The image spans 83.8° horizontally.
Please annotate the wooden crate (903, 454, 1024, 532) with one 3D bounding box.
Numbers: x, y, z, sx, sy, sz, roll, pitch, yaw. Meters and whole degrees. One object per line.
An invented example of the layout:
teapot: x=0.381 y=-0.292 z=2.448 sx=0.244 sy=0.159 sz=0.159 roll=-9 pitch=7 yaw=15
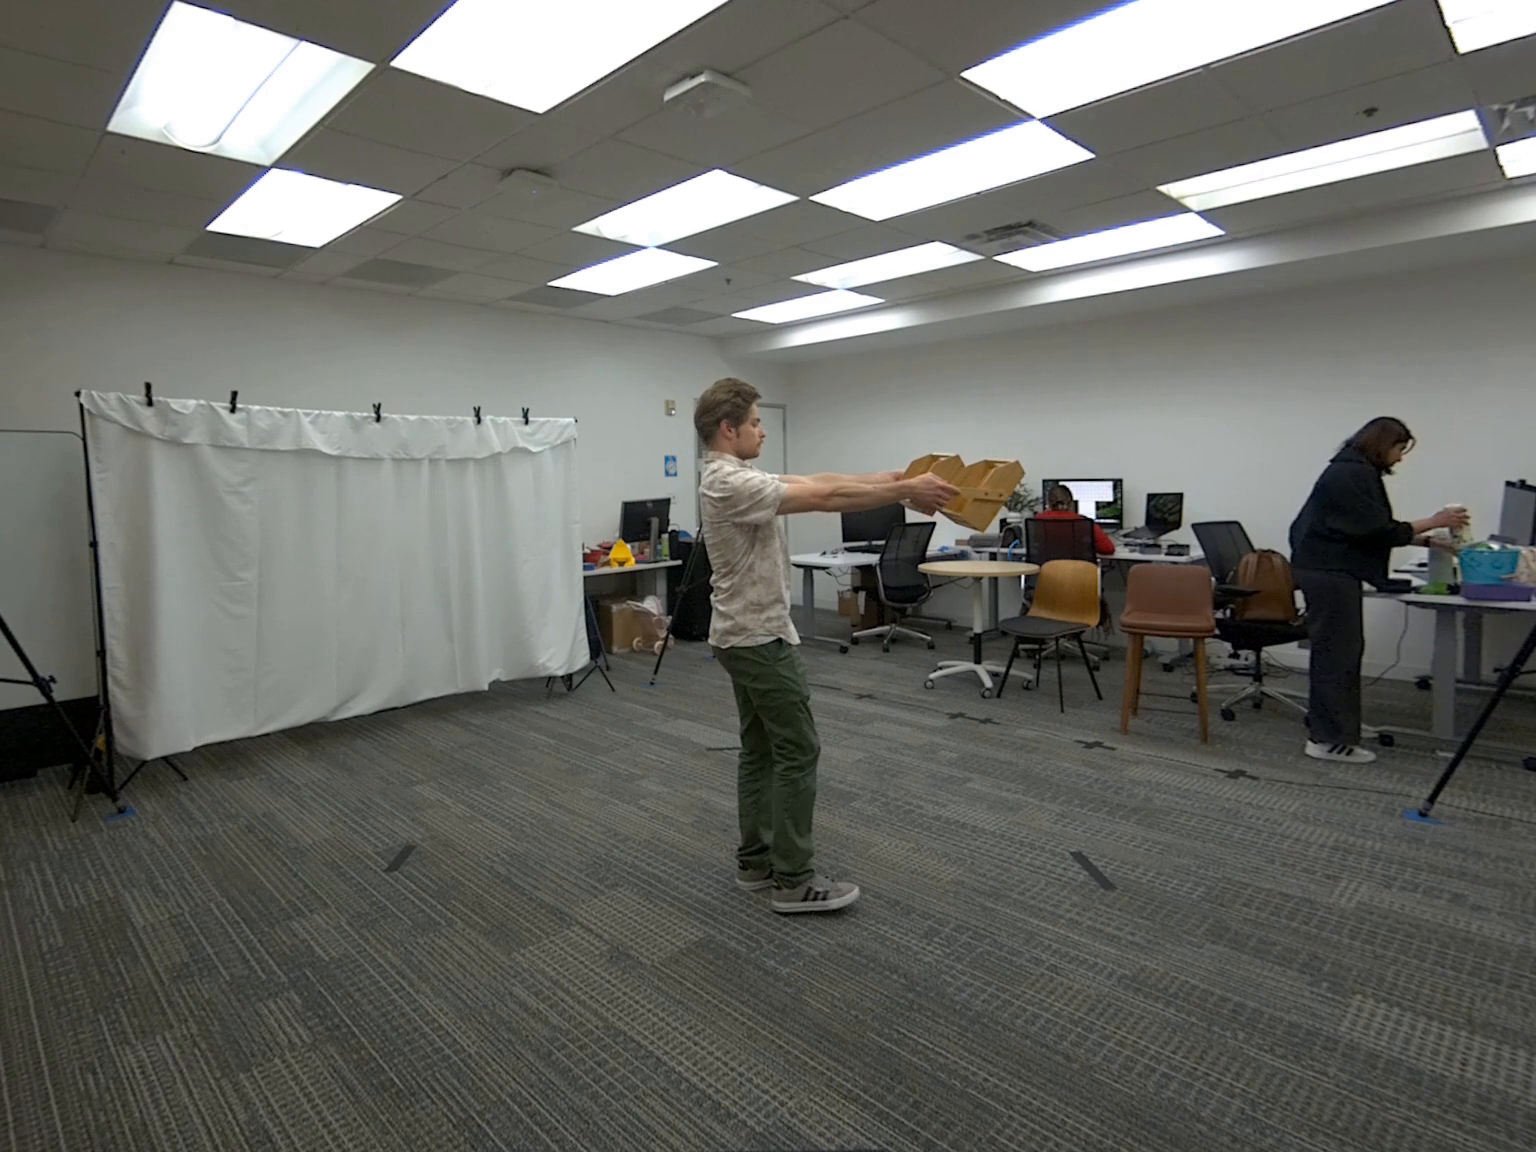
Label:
wooden crate: x=0.624 y=-0.314 z=2.858 sx=0.271 sy=0.301 sz=0.327 roll=34 pitch=5 yaw=-7
